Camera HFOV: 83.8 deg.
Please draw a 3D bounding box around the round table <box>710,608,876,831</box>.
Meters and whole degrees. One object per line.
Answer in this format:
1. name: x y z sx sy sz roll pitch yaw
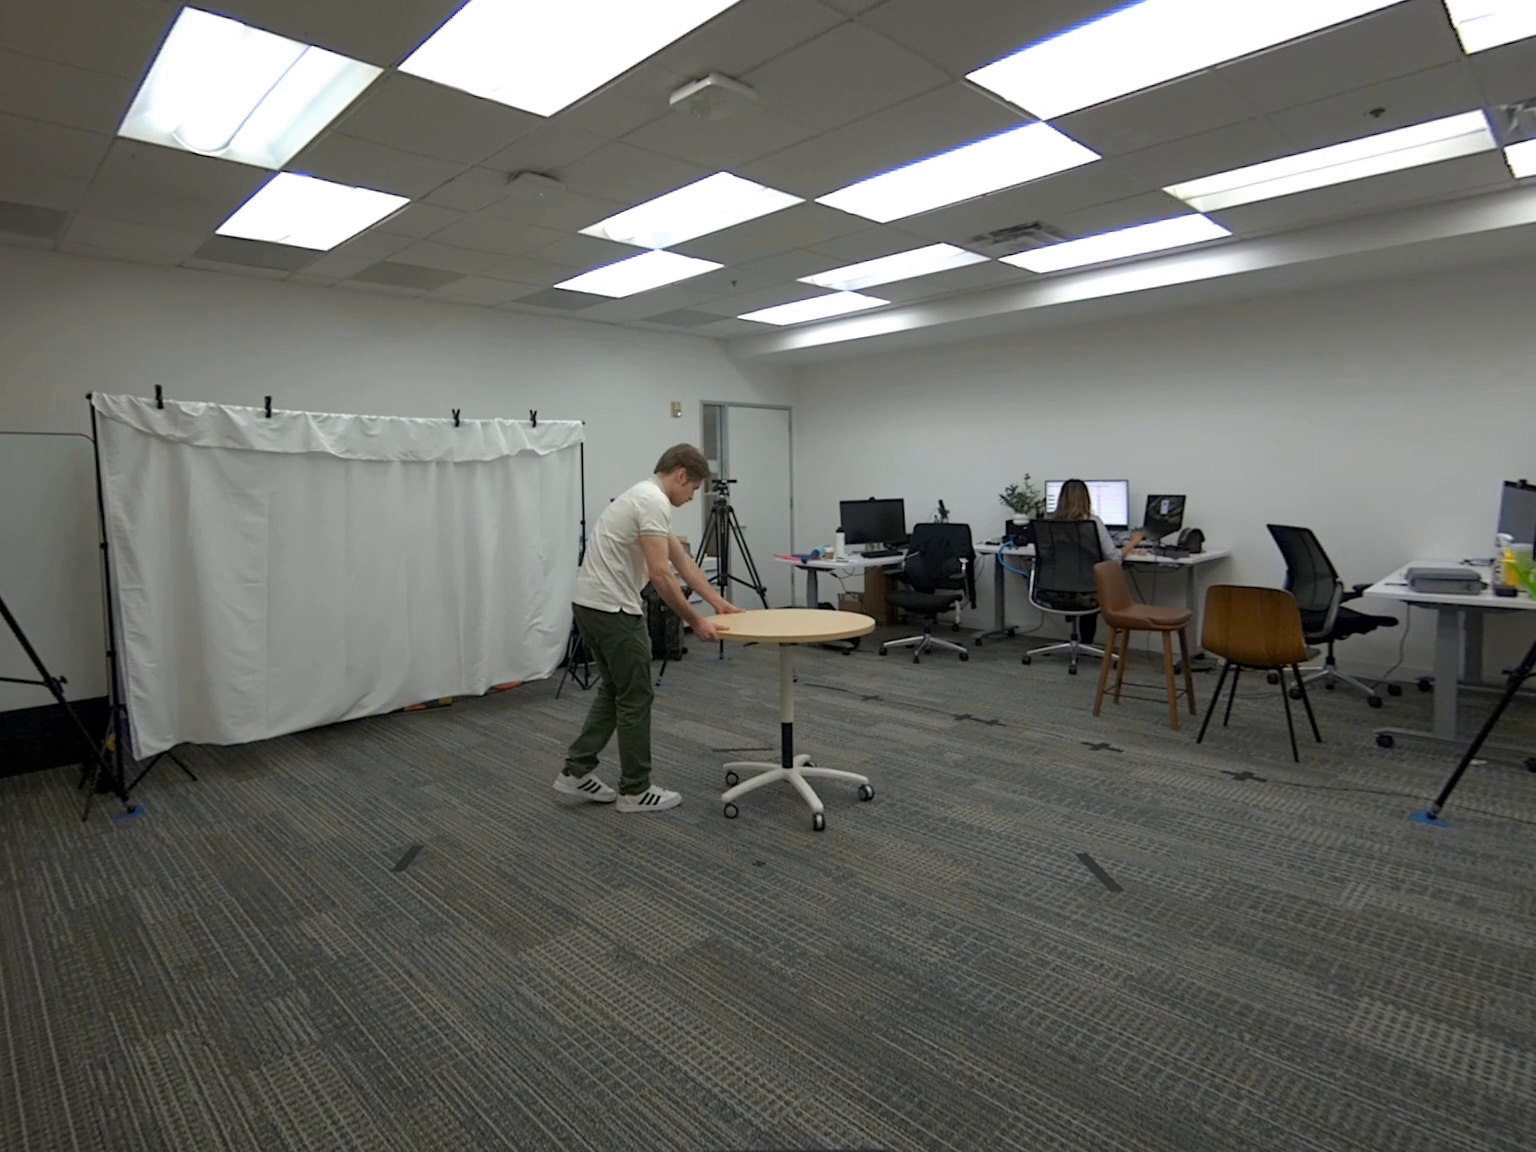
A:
1. round table: 0.067 0.584 3.706 0.784 0.784 0.788 -1 4 -2
